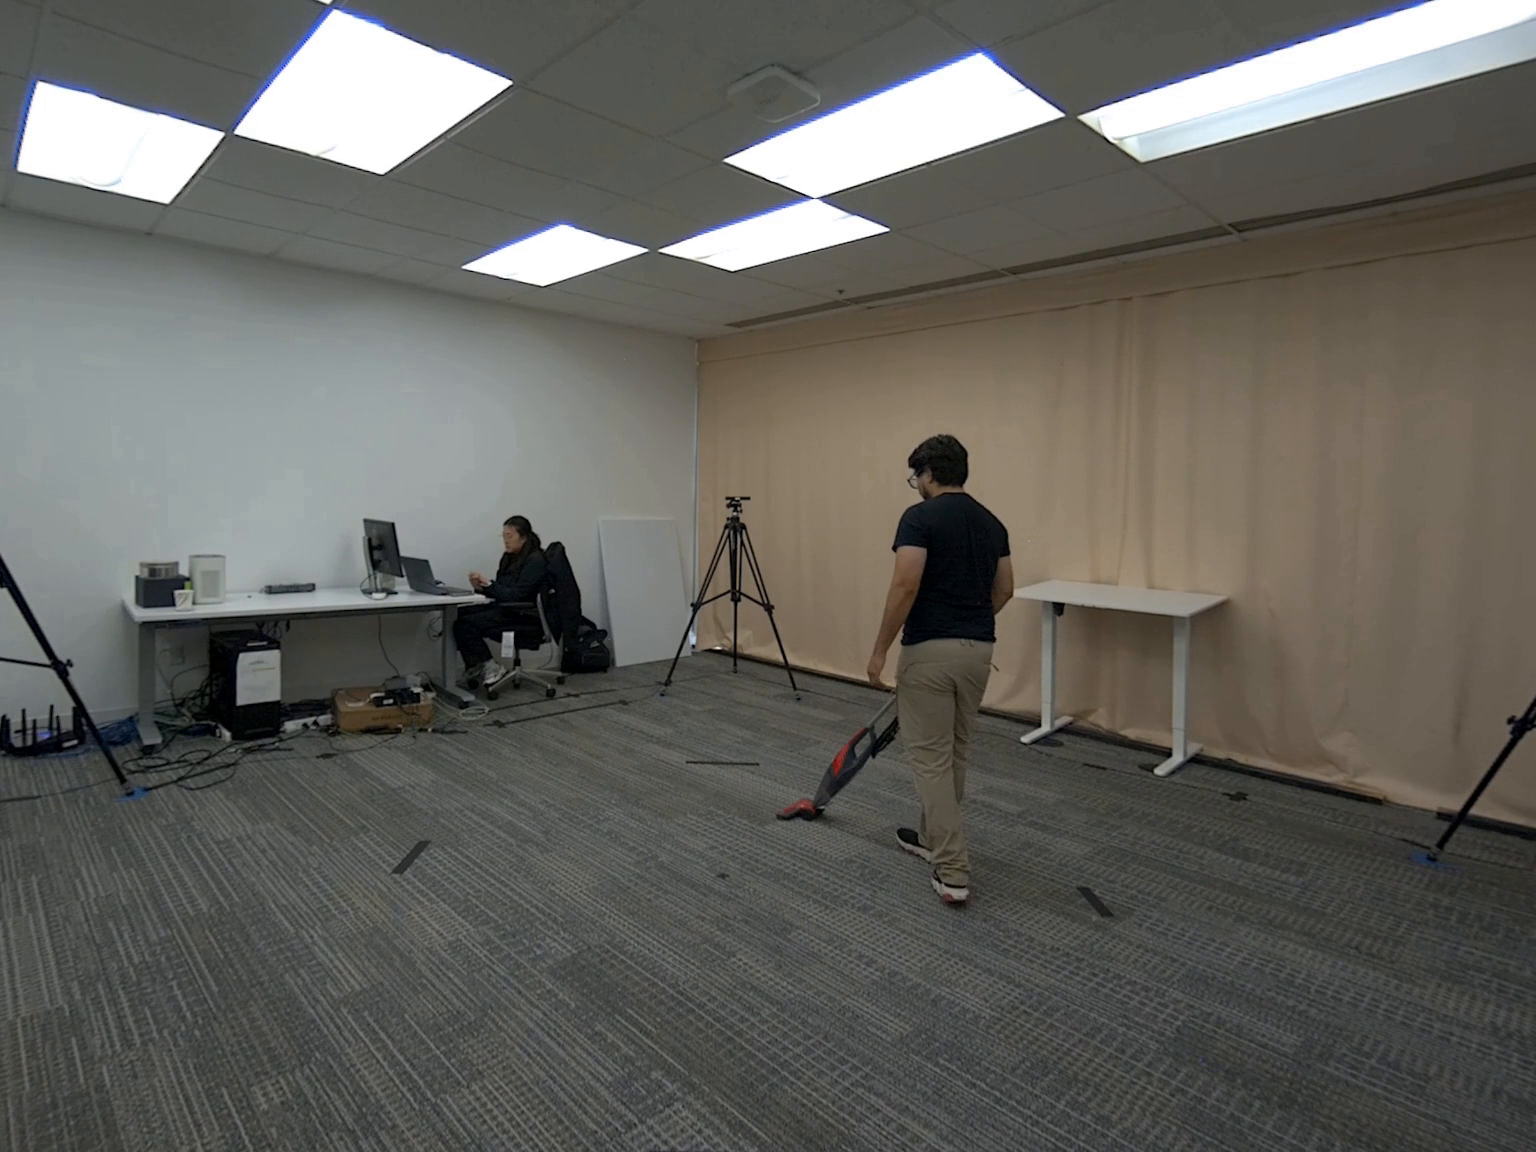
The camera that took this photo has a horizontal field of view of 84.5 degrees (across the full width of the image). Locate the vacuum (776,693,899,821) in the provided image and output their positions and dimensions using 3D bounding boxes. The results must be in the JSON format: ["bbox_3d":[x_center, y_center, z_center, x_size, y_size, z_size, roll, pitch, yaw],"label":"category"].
[{"bbox_3d":[0.433,0.669,3.539,0.147,1.046,0.247,47,24,23],"label":"vacuum"}]
